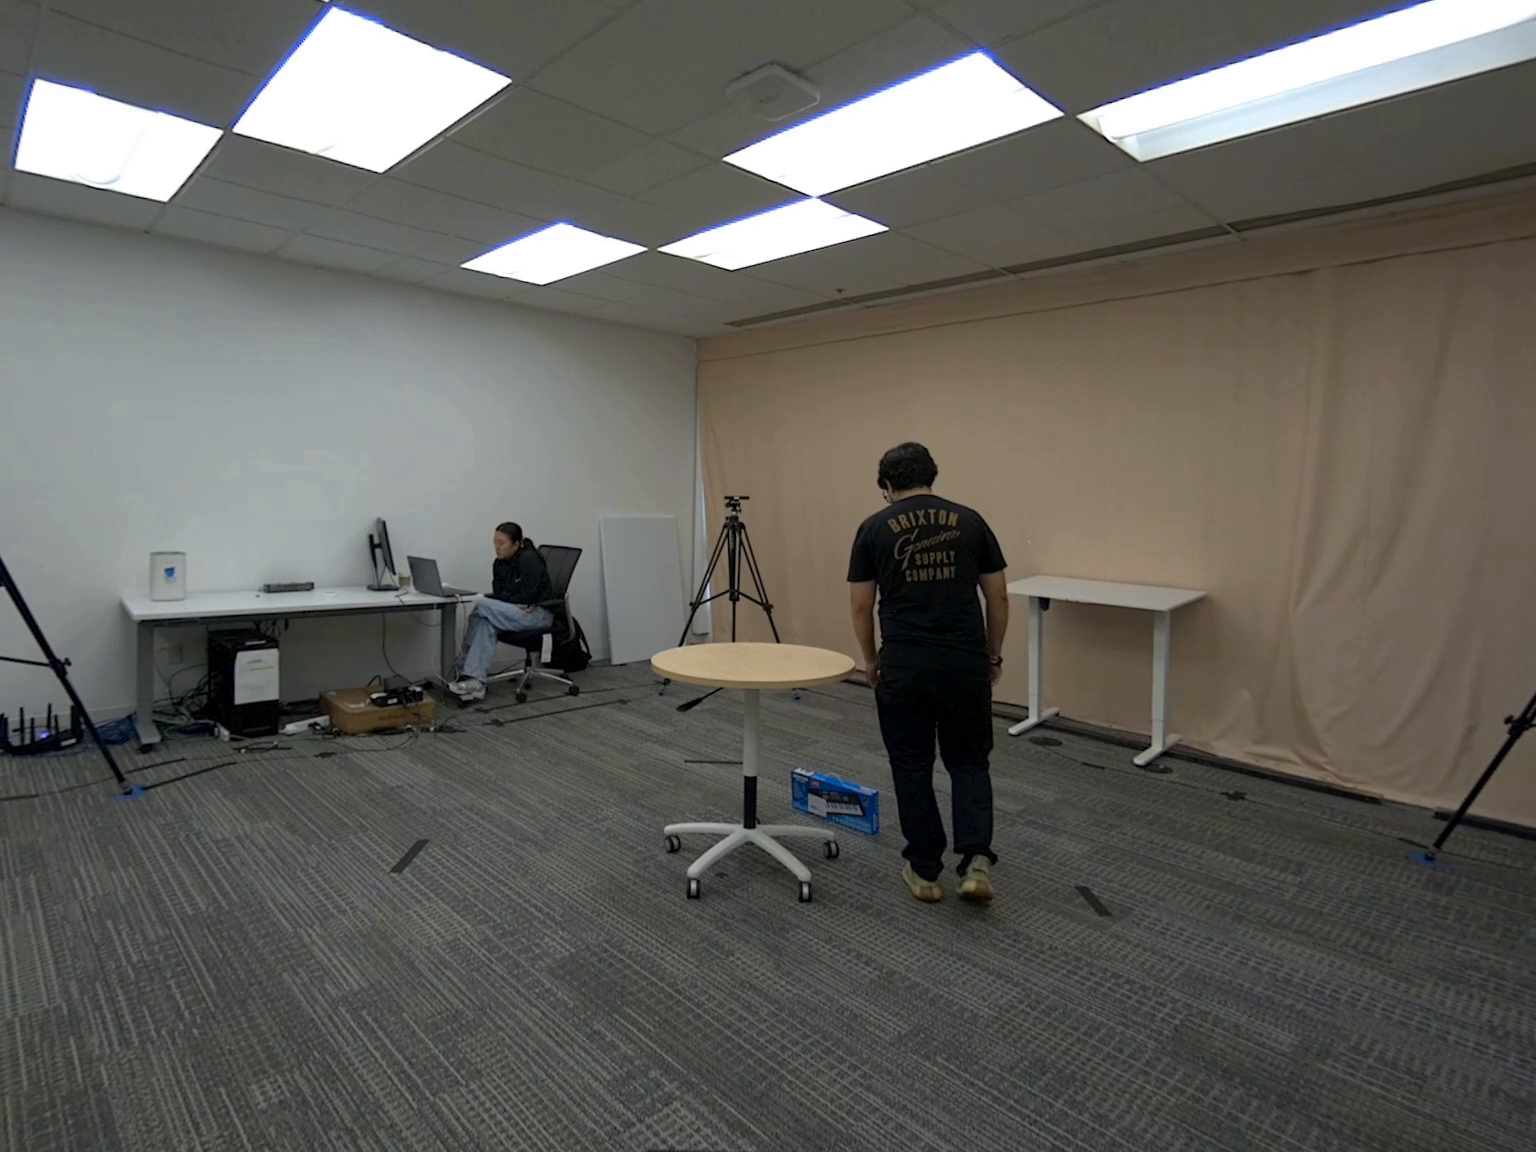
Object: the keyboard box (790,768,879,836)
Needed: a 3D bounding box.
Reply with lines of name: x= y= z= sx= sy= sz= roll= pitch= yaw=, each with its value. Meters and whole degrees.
keyboard box: x=0.280 y=0.979 z=3.678 sx=0.448 sy=0.175 sz=0.058 roll=5 pitch=10 yaw=43
